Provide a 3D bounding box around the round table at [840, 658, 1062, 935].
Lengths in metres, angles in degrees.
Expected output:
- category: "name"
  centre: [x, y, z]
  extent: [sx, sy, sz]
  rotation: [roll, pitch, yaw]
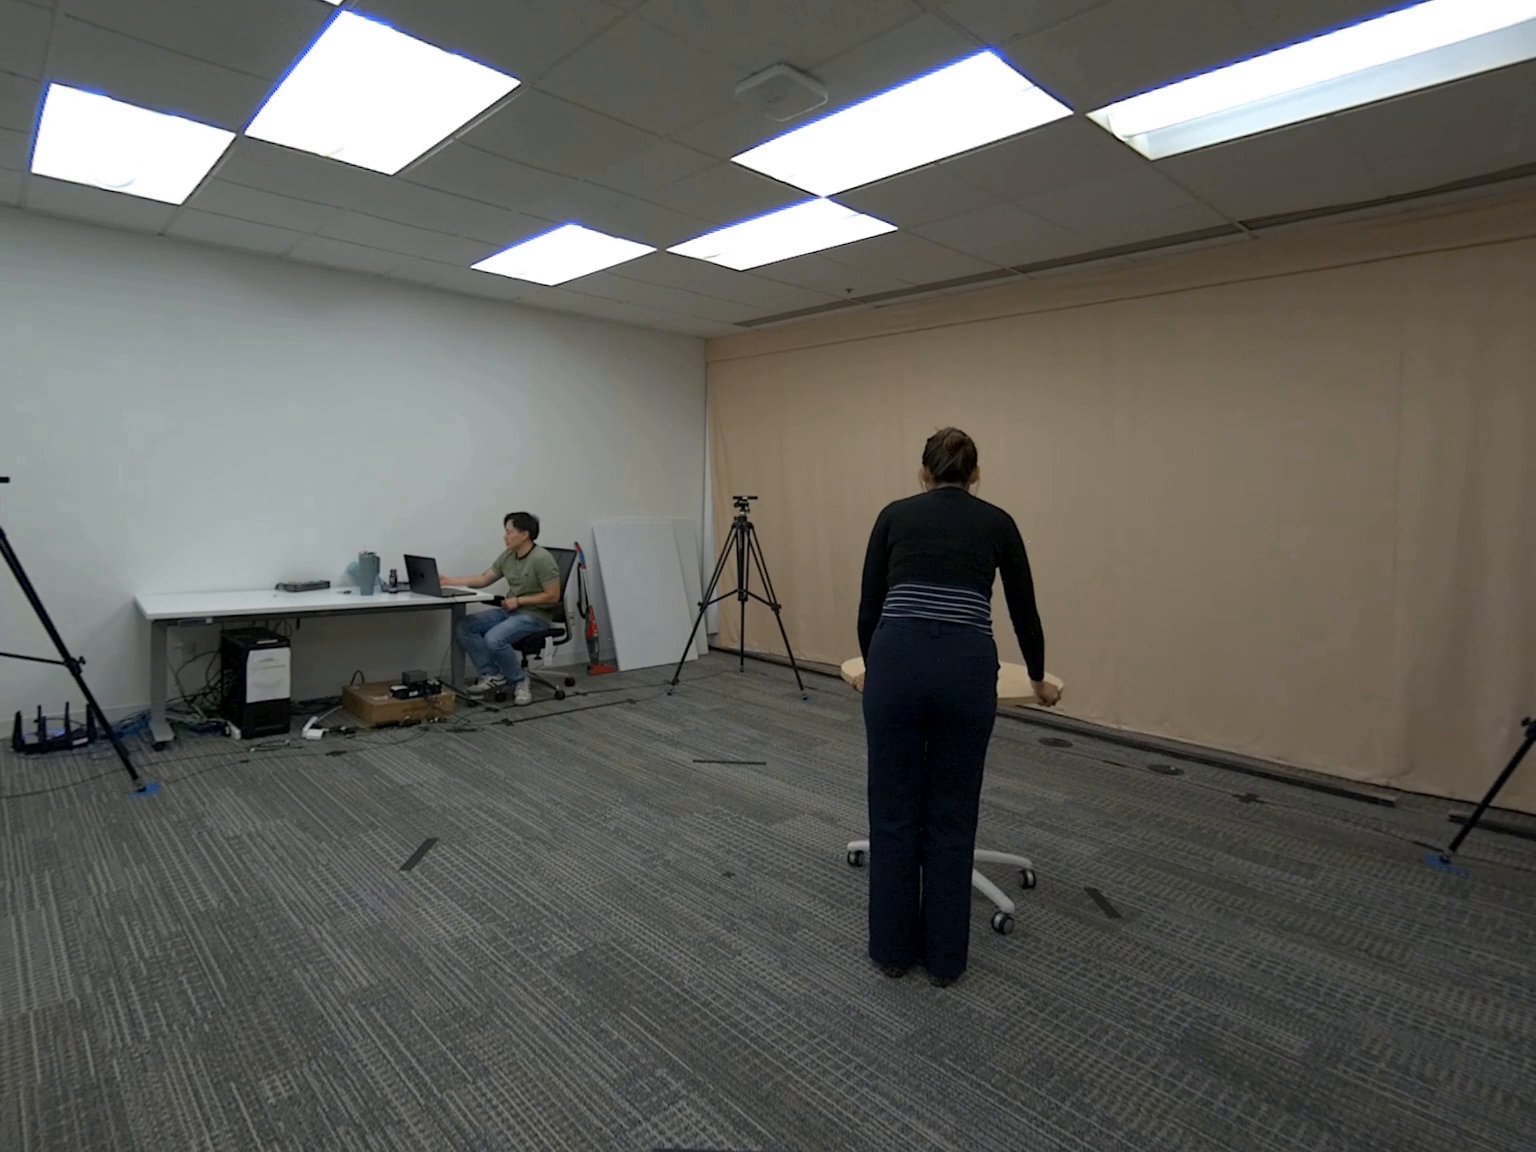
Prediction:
- category: "round table"
  centre: [0.625, 0.742, 3.025]
  extent: [0.763, 0.792, 0.766]
  rotation: [2, 4, -1]
